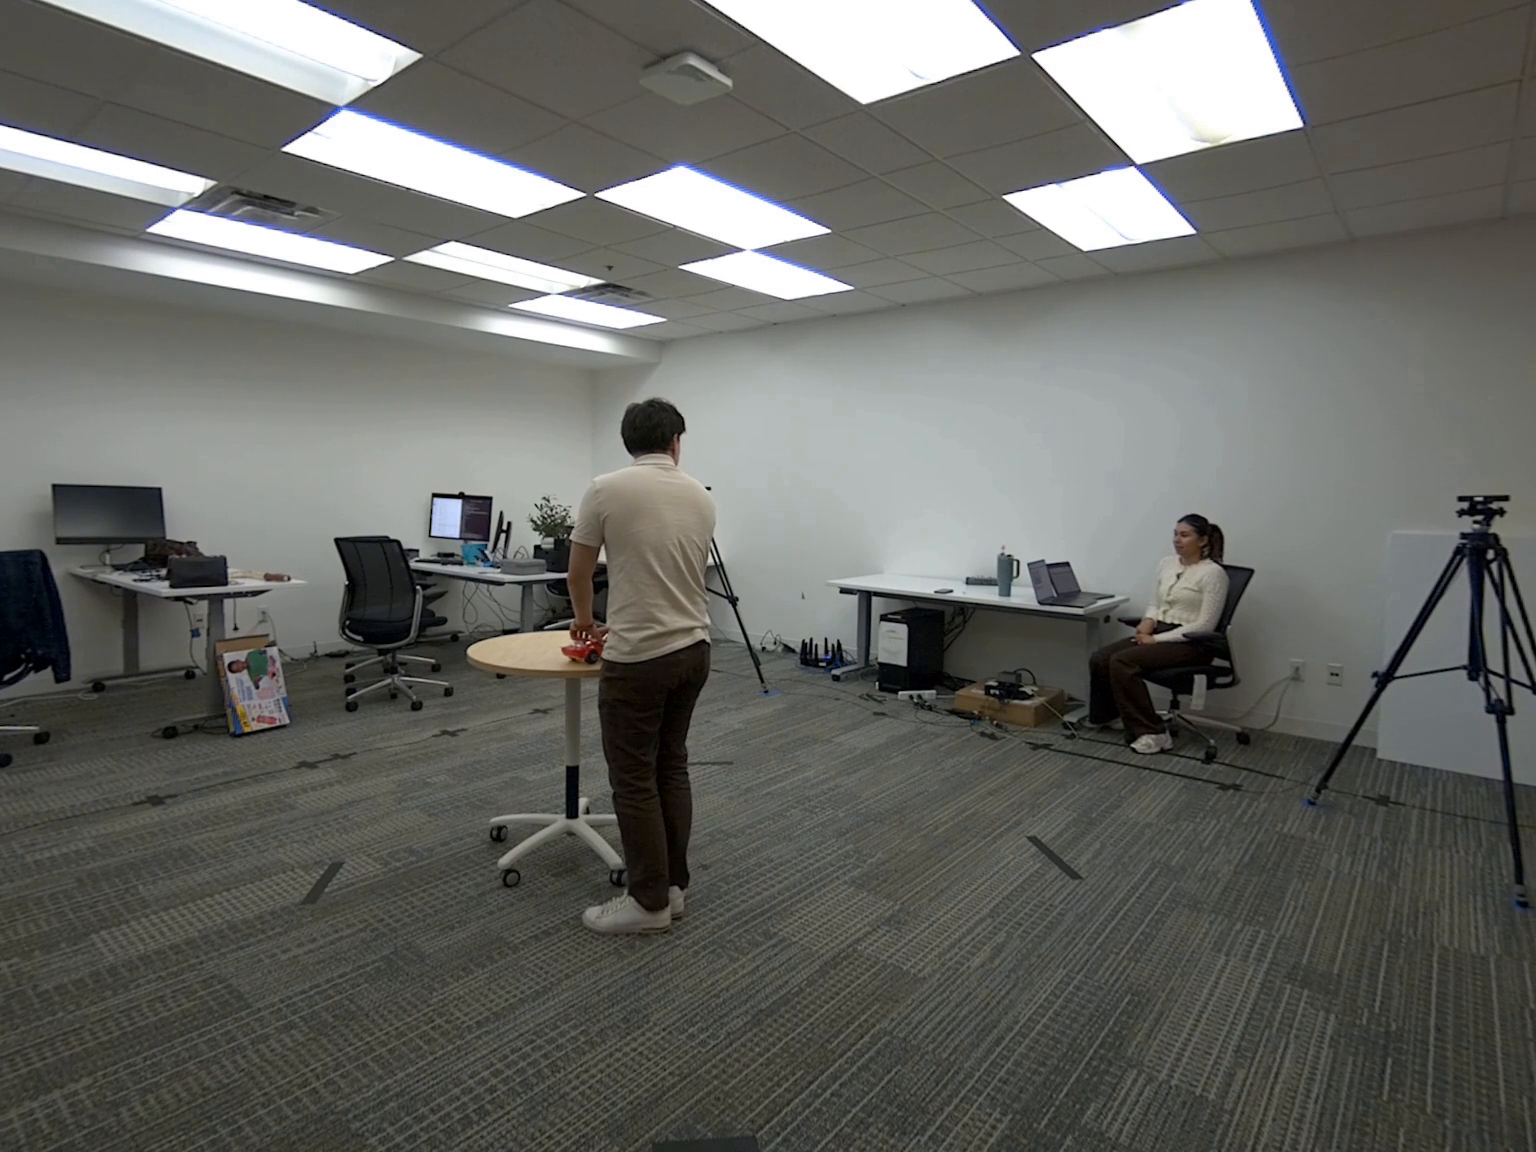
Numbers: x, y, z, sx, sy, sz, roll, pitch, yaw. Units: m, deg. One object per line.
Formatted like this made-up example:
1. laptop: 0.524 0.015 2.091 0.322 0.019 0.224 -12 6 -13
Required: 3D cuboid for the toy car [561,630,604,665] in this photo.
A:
1. toy car: -0.631 0.263 2.974 0.134 0.083 0.245 5 -5 36
